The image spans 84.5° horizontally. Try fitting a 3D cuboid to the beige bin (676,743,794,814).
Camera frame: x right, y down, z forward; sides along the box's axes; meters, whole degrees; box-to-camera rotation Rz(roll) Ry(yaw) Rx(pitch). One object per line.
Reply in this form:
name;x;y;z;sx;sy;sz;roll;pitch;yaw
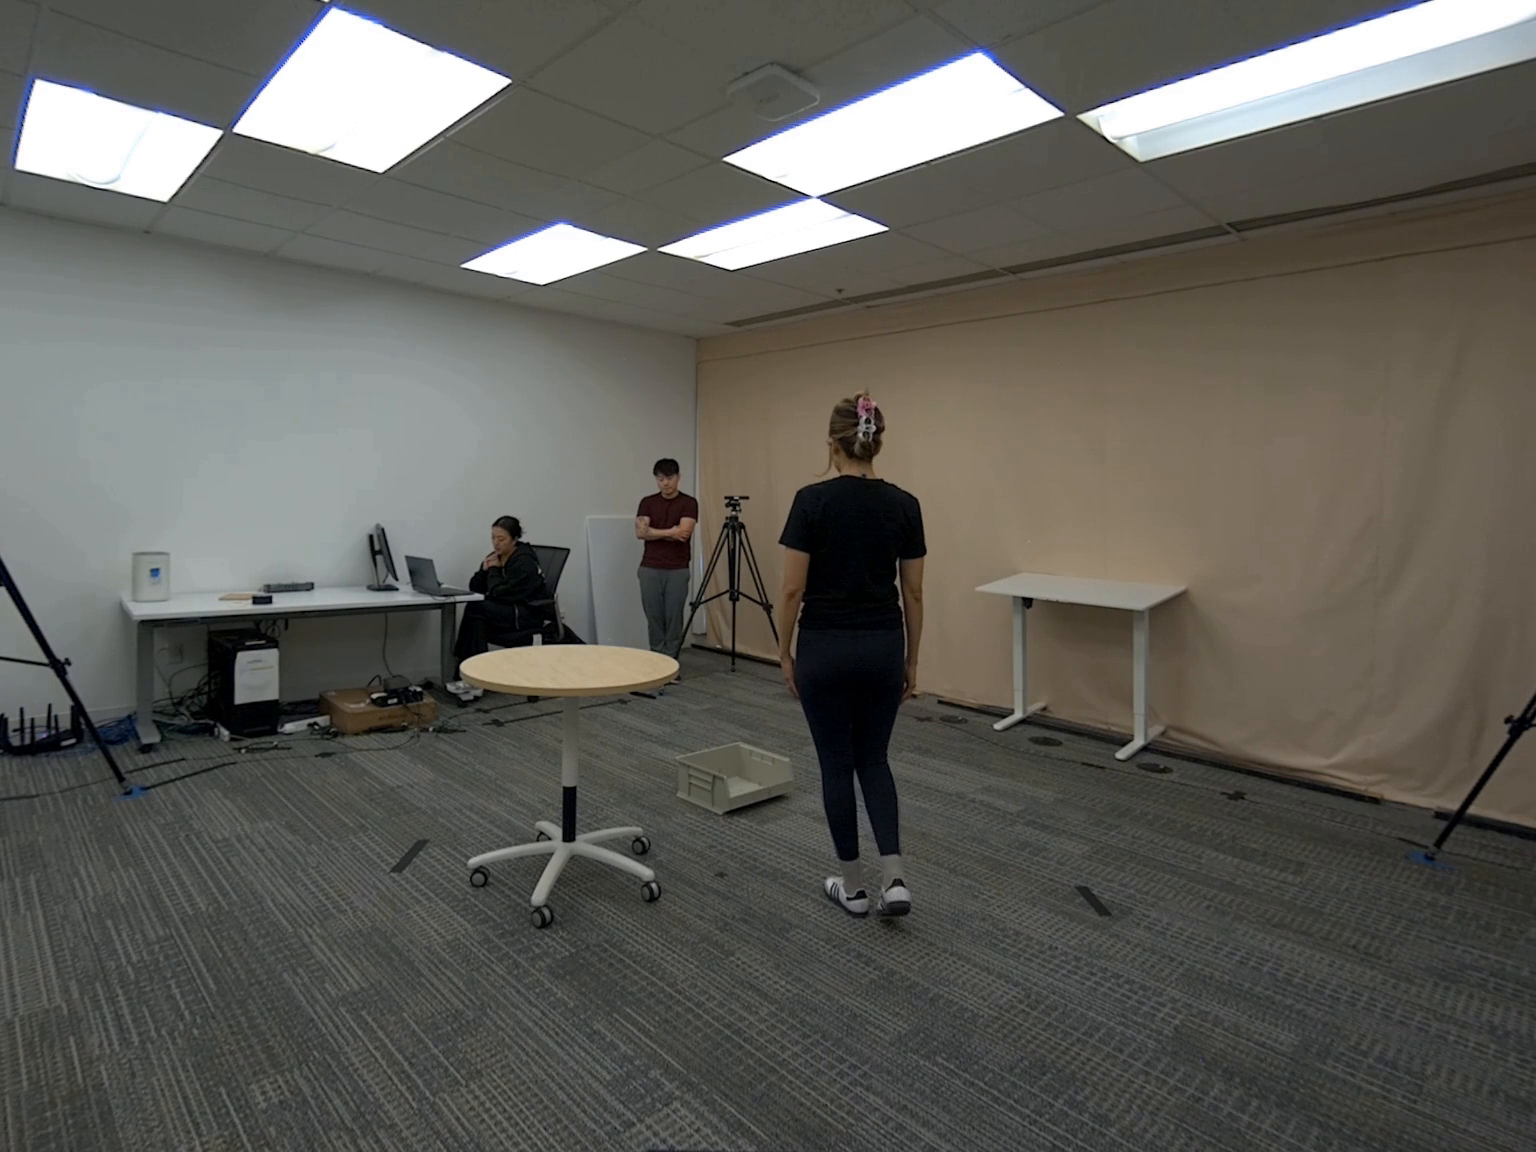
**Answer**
beige bin;-0.166;0.944;3.933;0.413;0.188;0.387;-4;7;-44
